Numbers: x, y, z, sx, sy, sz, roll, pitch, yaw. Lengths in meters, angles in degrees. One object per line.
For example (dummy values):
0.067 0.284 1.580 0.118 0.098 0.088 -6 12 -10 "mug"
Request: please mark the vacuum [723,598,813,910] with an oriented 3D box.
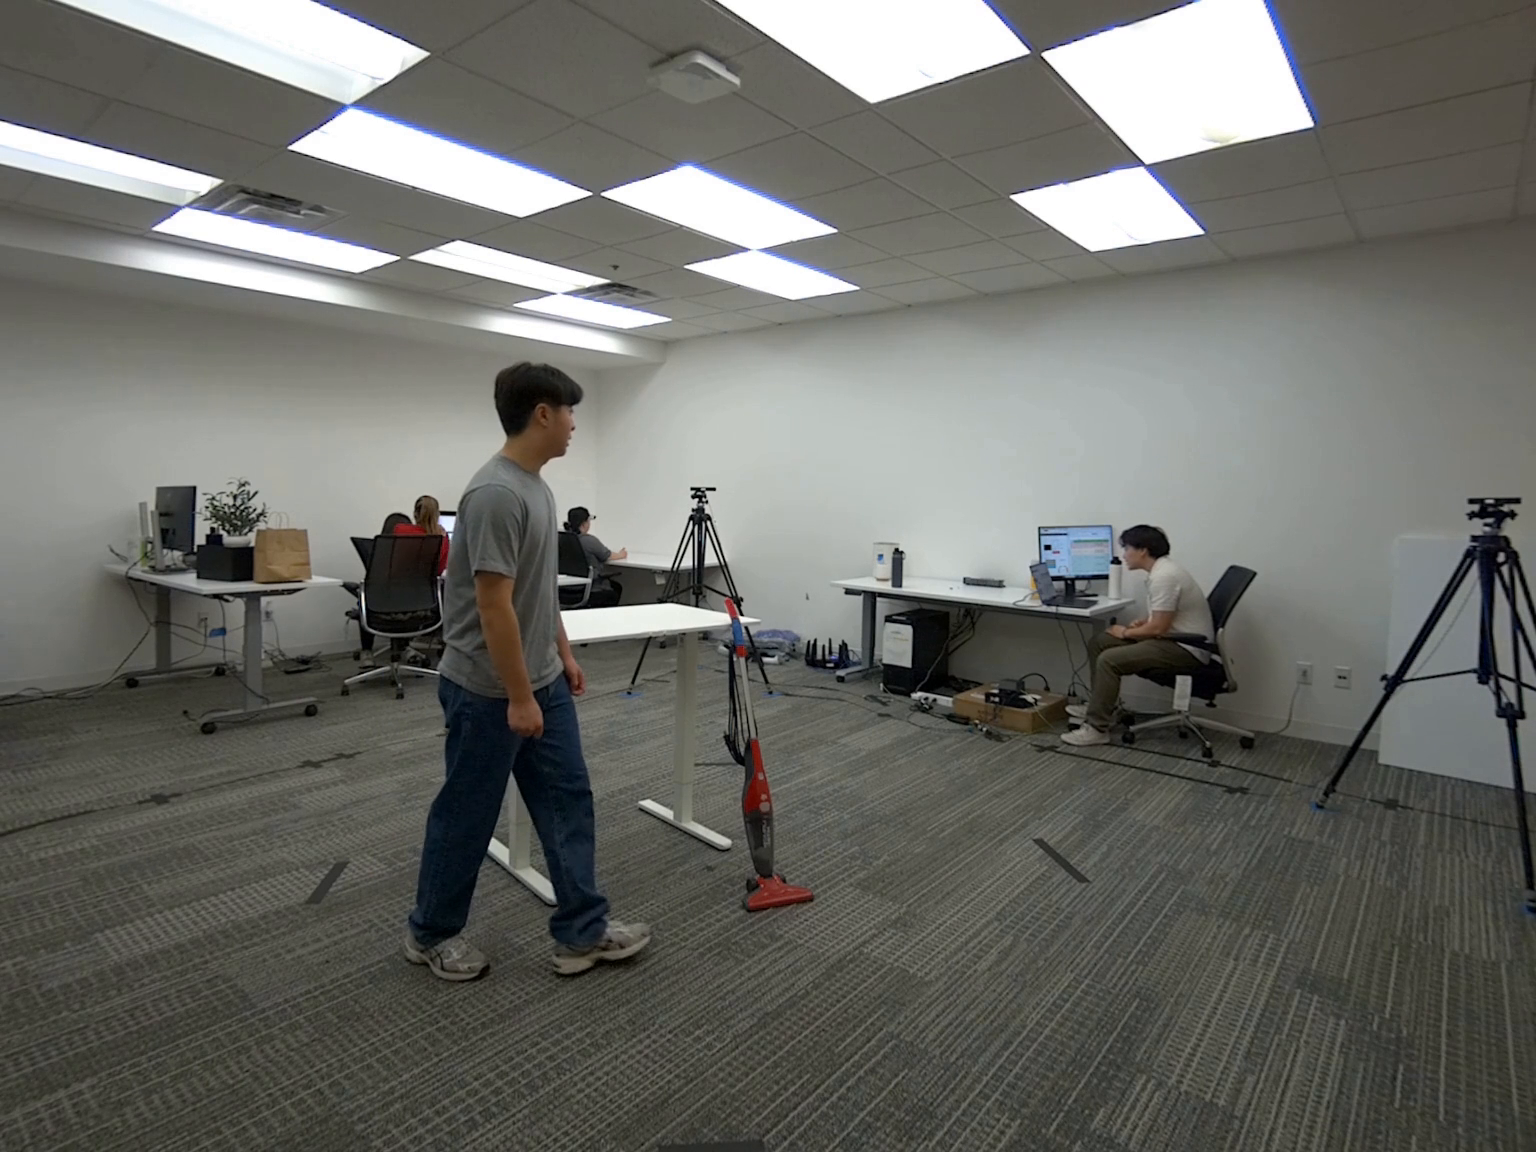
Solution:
-0.068 0.602 3.078 0.245 1.073 0.145 4 -25 -32 "vacuum"
